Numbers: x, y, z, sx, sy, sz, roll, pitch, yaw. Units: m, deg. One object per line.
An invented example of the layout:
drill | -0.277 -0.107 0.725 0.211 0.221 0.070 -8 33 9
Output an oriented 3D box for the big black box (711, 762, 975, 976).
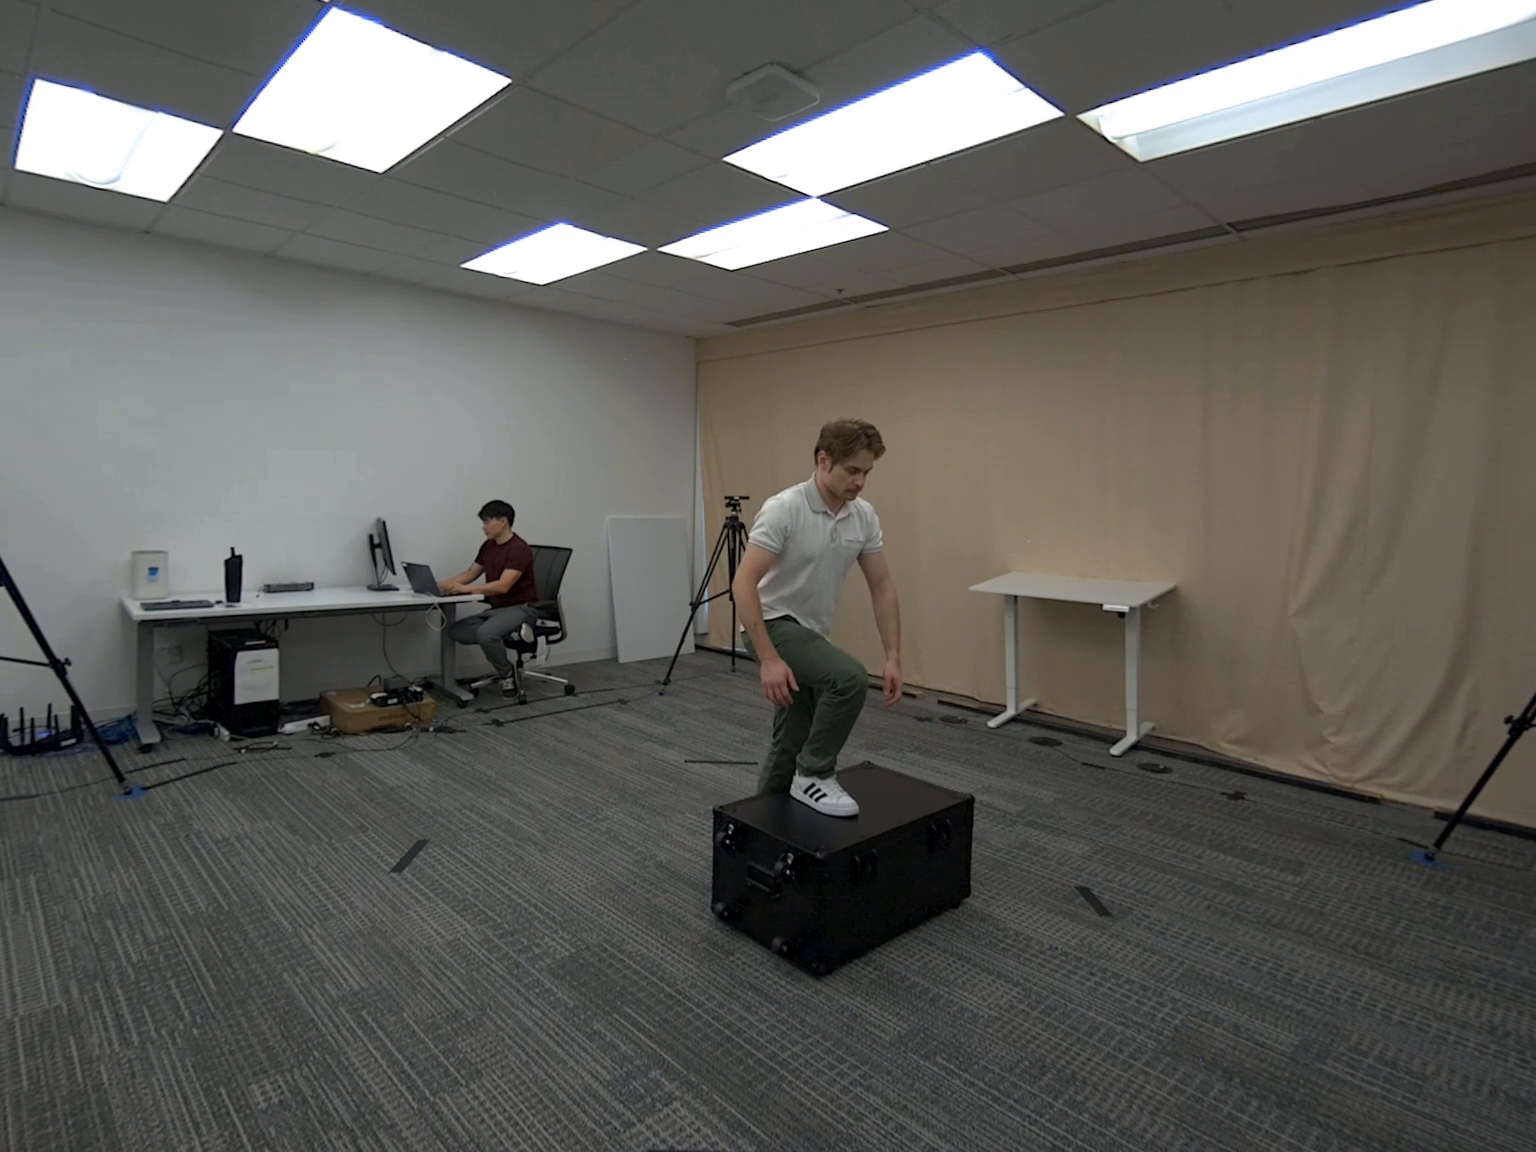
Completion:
big black box | 0.234 0.951 2.823 0.842 0.395 0.535 -2 6 -43
